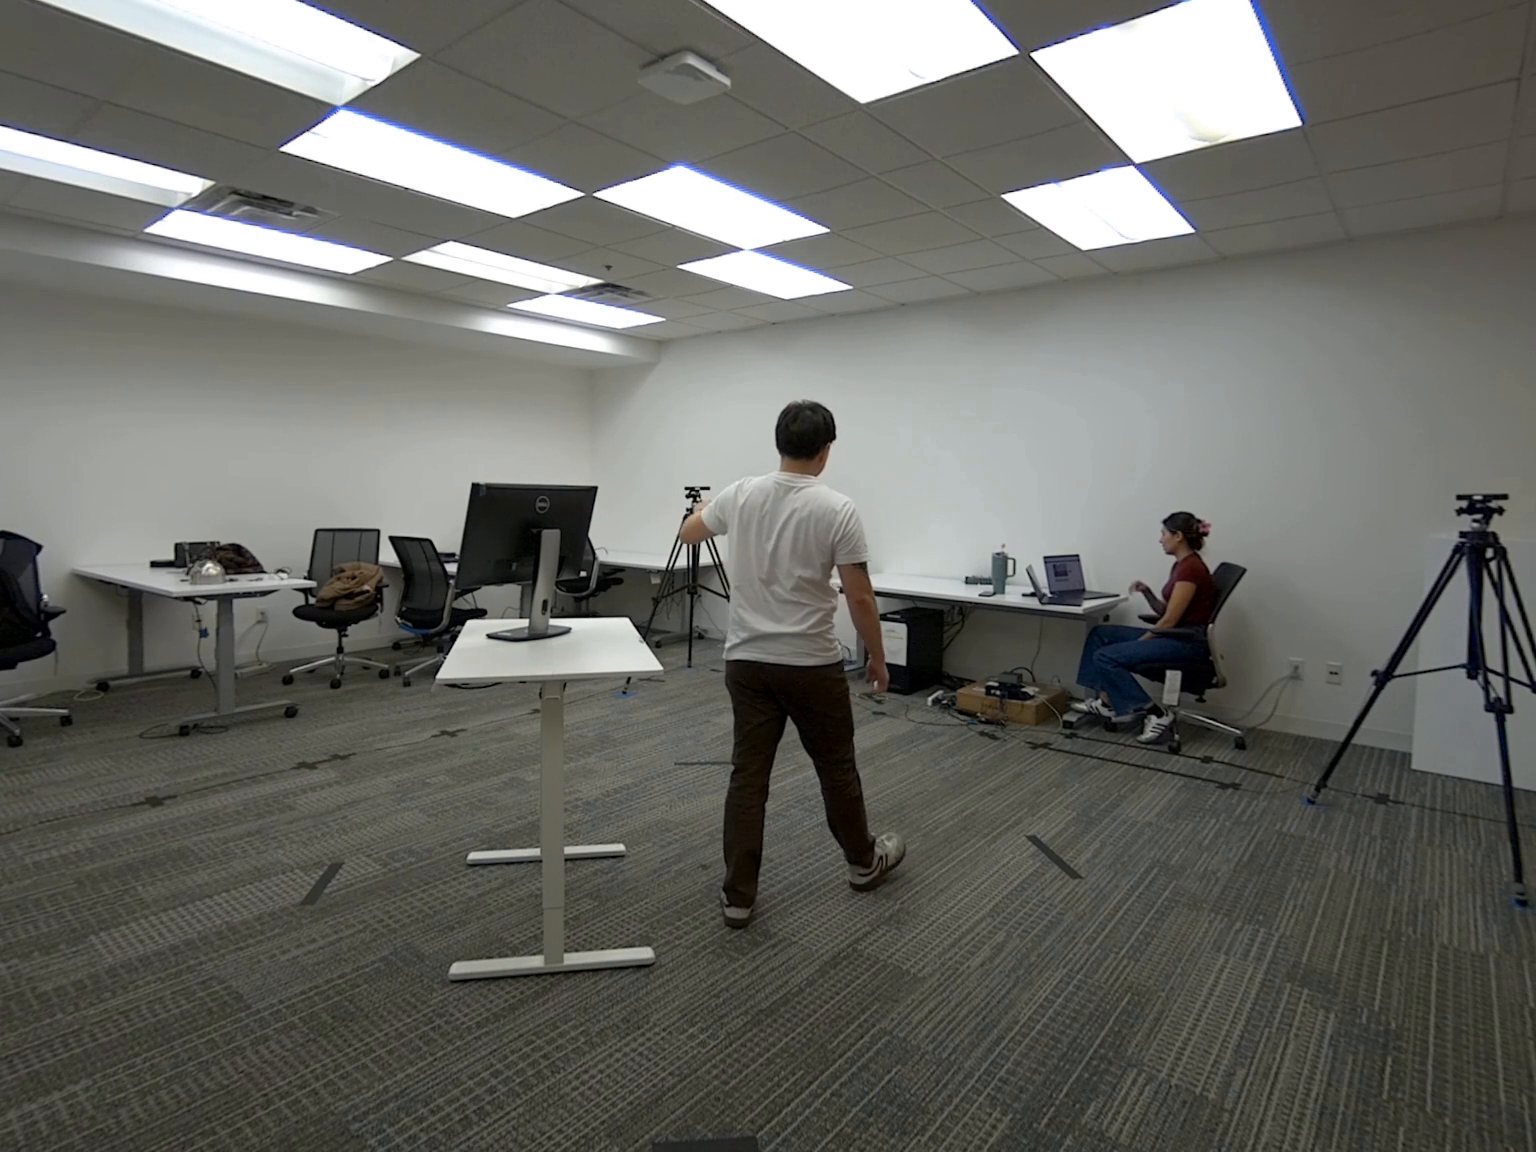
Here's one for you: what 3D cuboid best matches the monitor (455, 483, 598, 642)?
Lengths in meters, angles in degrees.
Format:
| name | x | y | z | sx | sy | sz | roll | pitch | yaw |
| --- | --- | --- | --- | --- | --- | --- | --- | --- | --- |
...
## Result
| name | x | y | z | sx | sy | sz | roll | pitch | yaw |
| --- | --- | --- | --- | --- | --- | --- | --- | --- | --- |
| monitor | -0.807 | -0.051 | 2.877 | 0.193 | 0.520 | 0.524 | 6 | 6 | 32 |
